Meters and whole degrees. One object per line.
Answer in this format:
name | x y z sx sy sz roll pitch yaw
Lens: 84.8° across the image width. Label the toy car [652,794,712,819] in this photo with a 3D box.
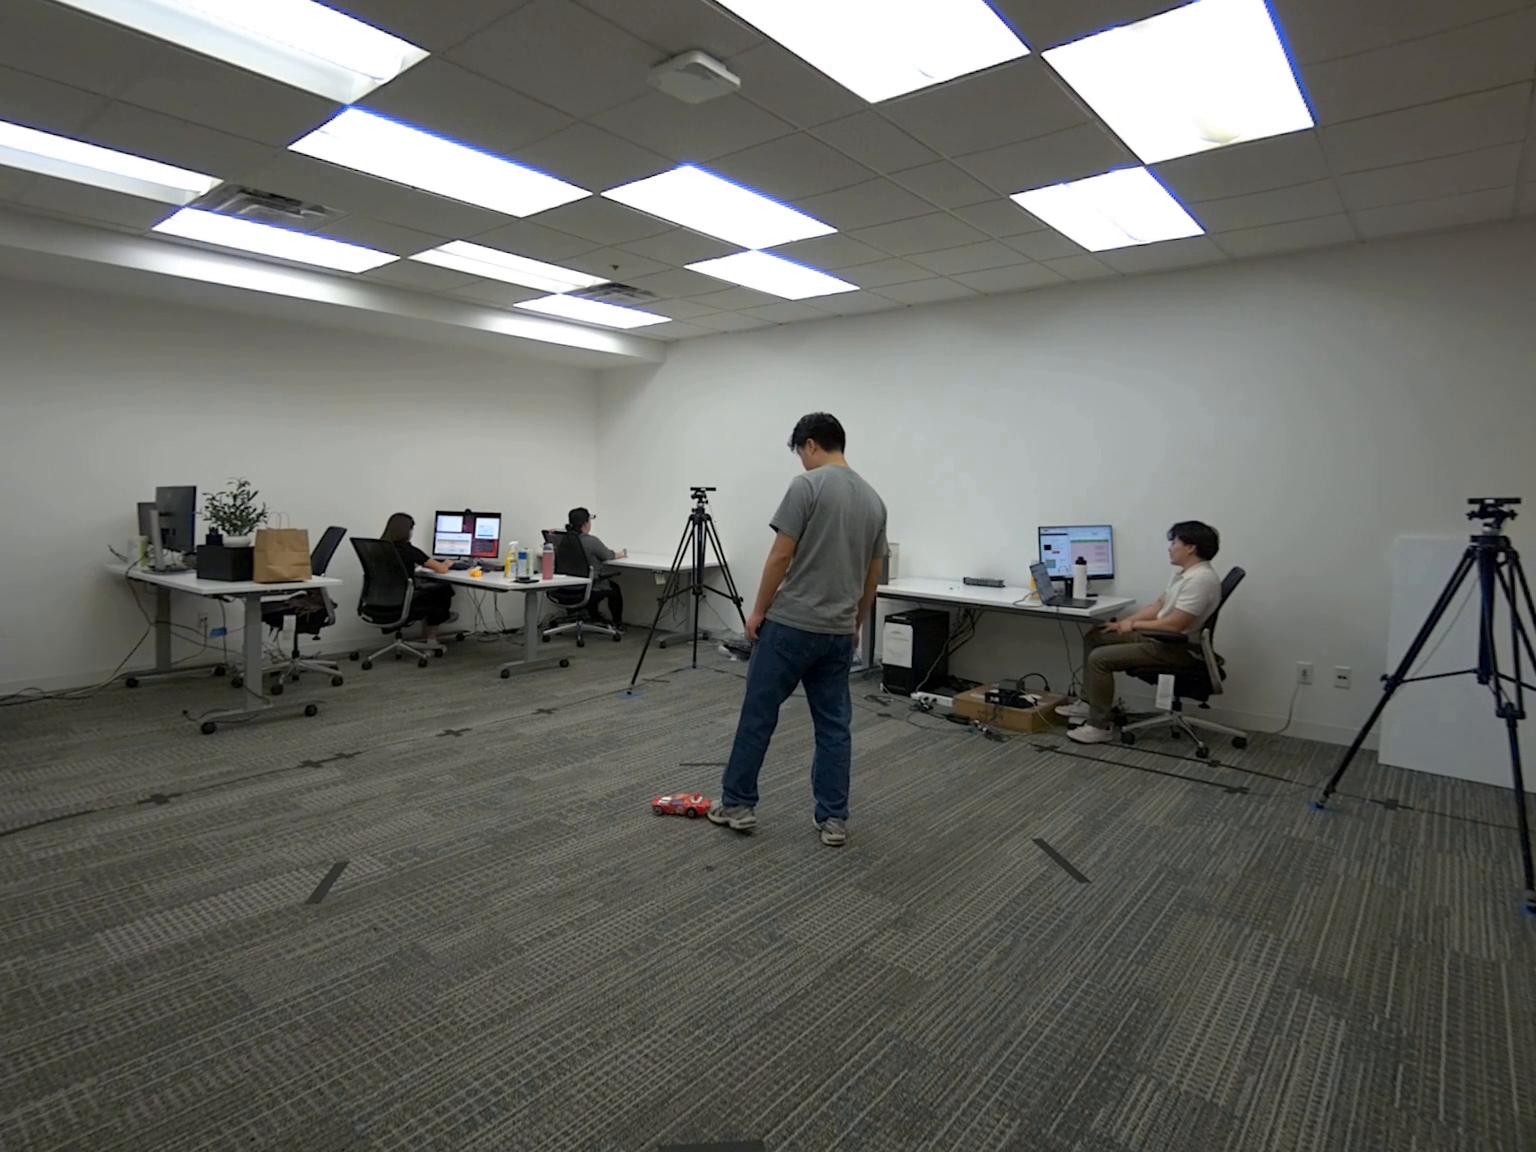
toy car | -0.369 0.976 3.637 0.257 0.083 0.129 -9 2 10
